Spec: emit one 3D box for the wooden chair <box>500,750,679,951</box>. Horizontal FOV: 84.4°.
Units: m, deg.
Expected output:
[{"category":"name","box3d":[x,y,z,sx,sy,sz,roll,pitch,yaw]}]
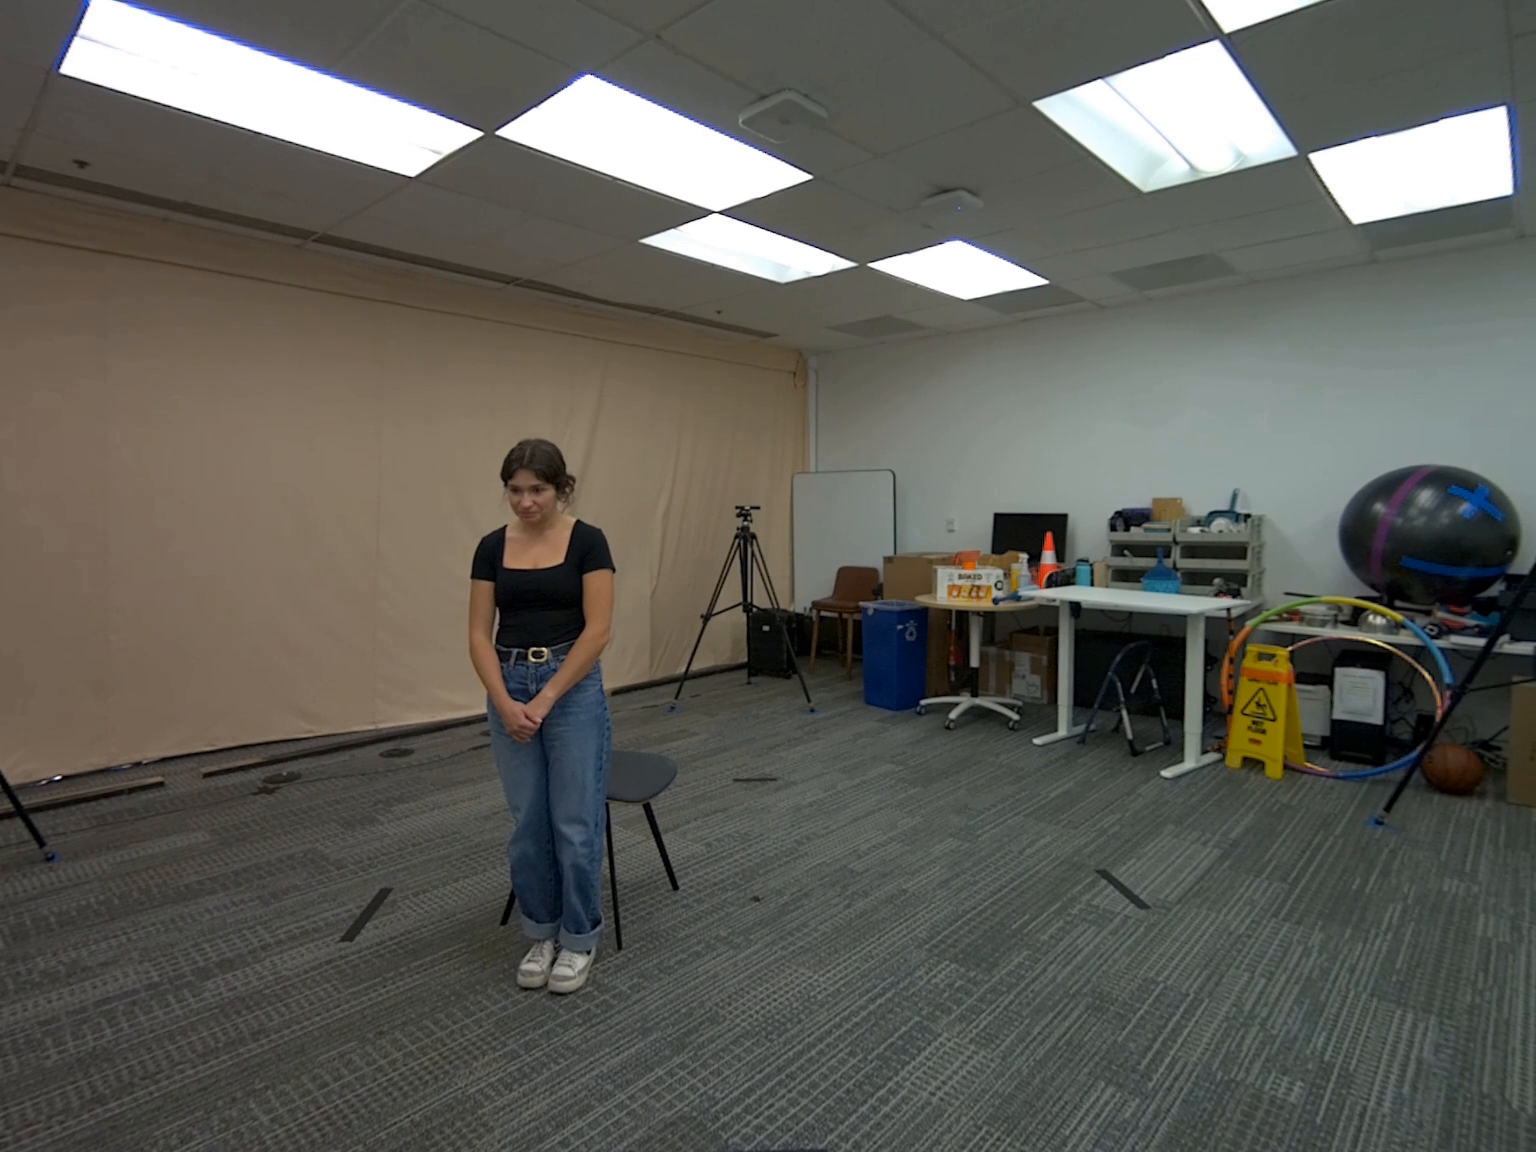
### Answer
[{"category":"wooden chair","box3d":[-0.602,0.728,2.904,0.534,0.876,0.469,-4,2,20]}]
